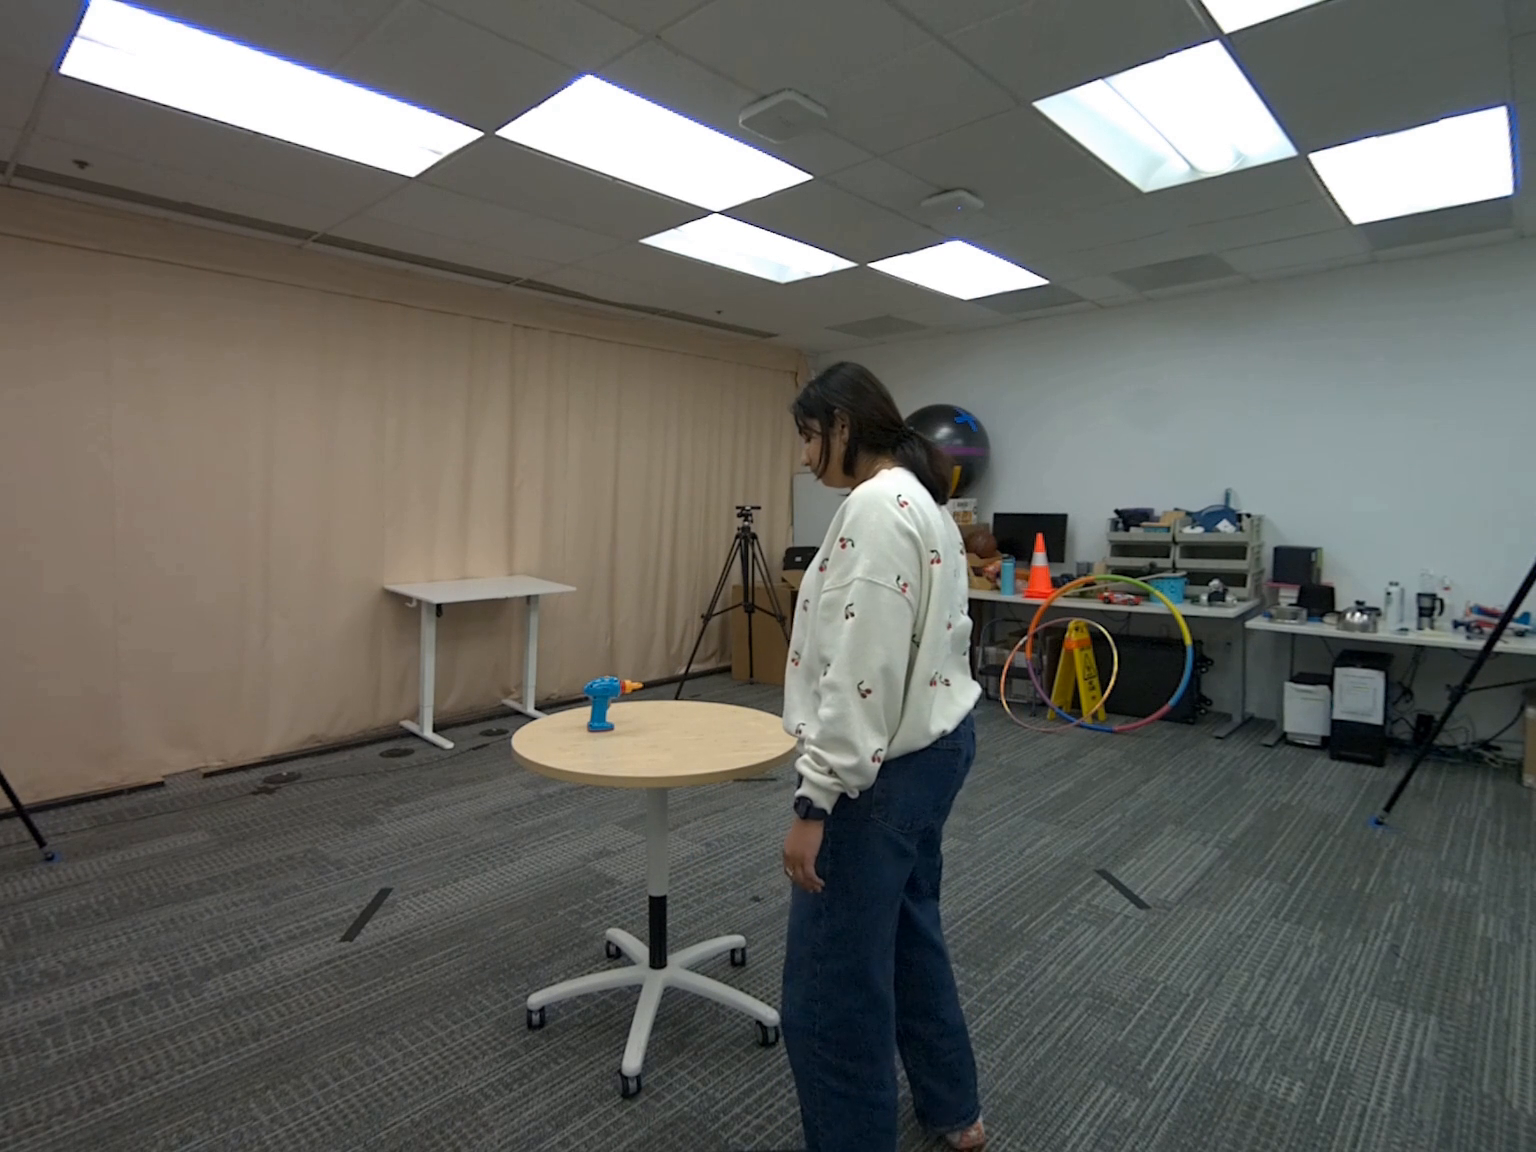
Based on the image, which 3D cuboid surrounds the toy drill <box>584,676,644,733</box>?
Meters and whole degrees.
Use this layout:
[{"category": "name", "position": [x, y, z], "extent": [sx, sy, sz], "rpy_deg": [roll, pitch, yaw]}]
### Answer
[{"category": "toy drill", "position": [-0.425, 0.348, 2.304], "extent": [0.165, 0.146, 0.063], "rpy_deg": [-1, 0, -26]}]
